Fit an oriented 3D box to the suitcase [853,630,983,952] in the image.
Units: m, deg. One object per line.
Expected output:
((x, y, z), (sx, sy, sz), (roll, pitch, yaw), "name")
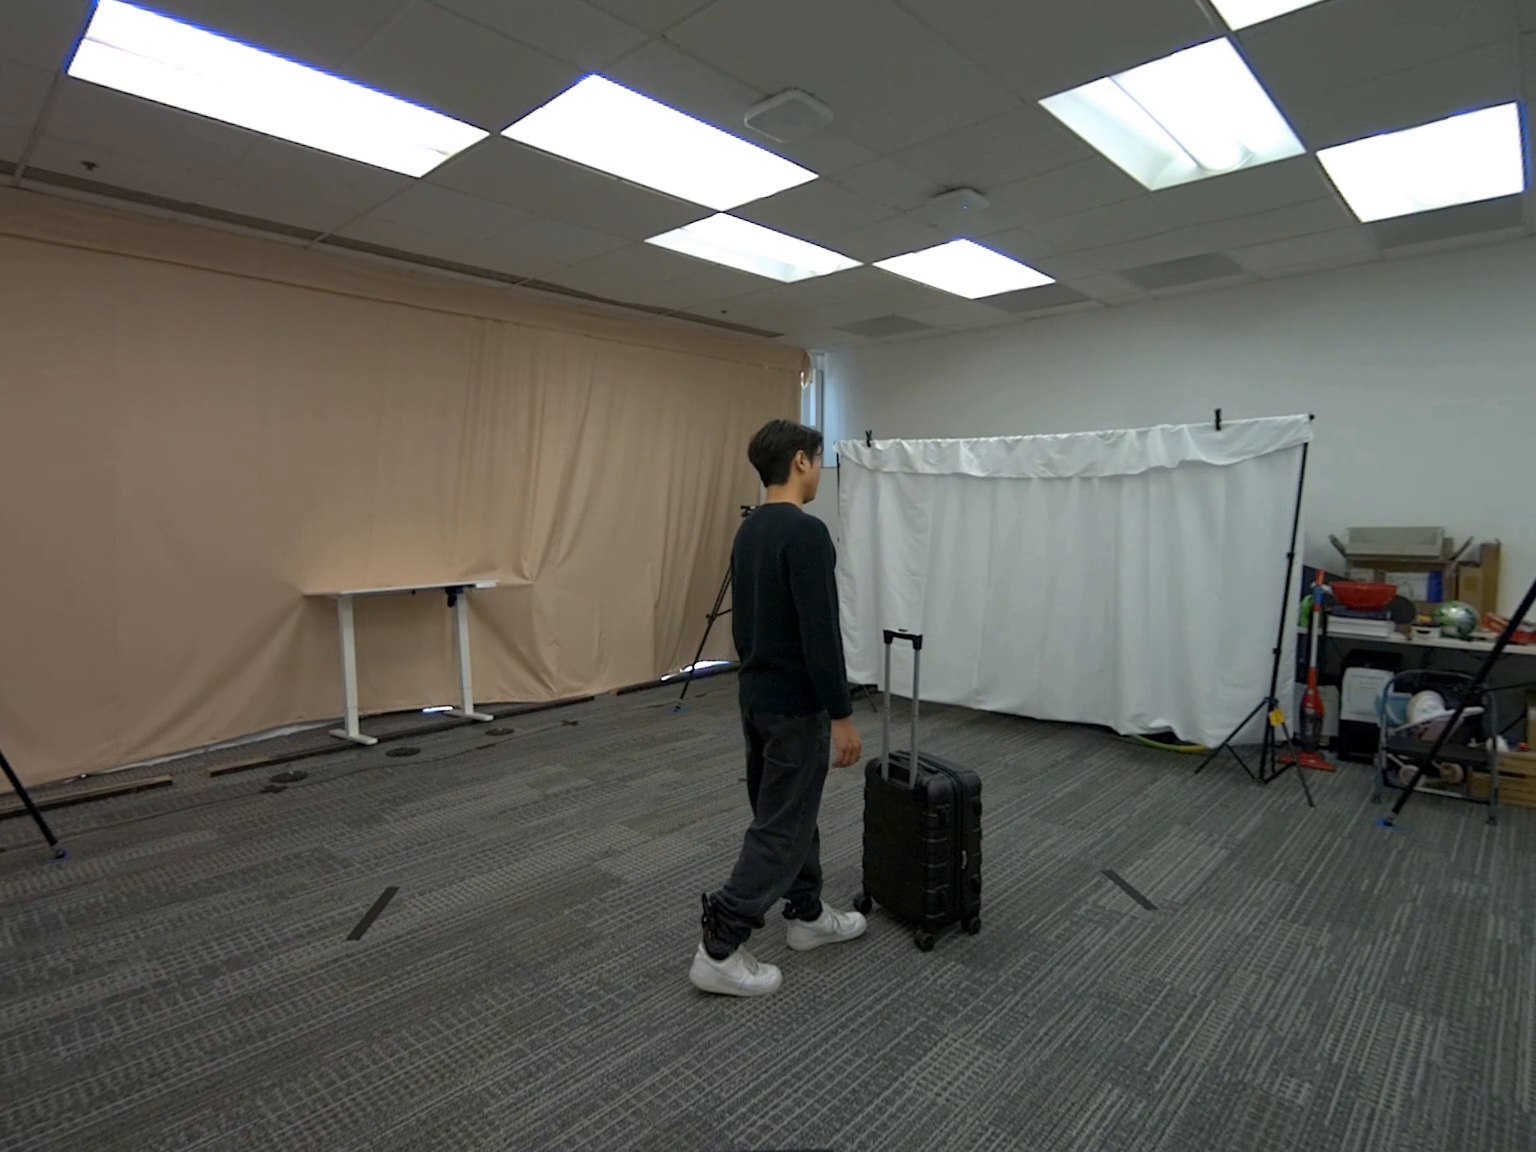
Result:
((0.529, 0.681, 2.816), (0.250, 0.977, 0.395), (1, 2, -31), "suitcase")
